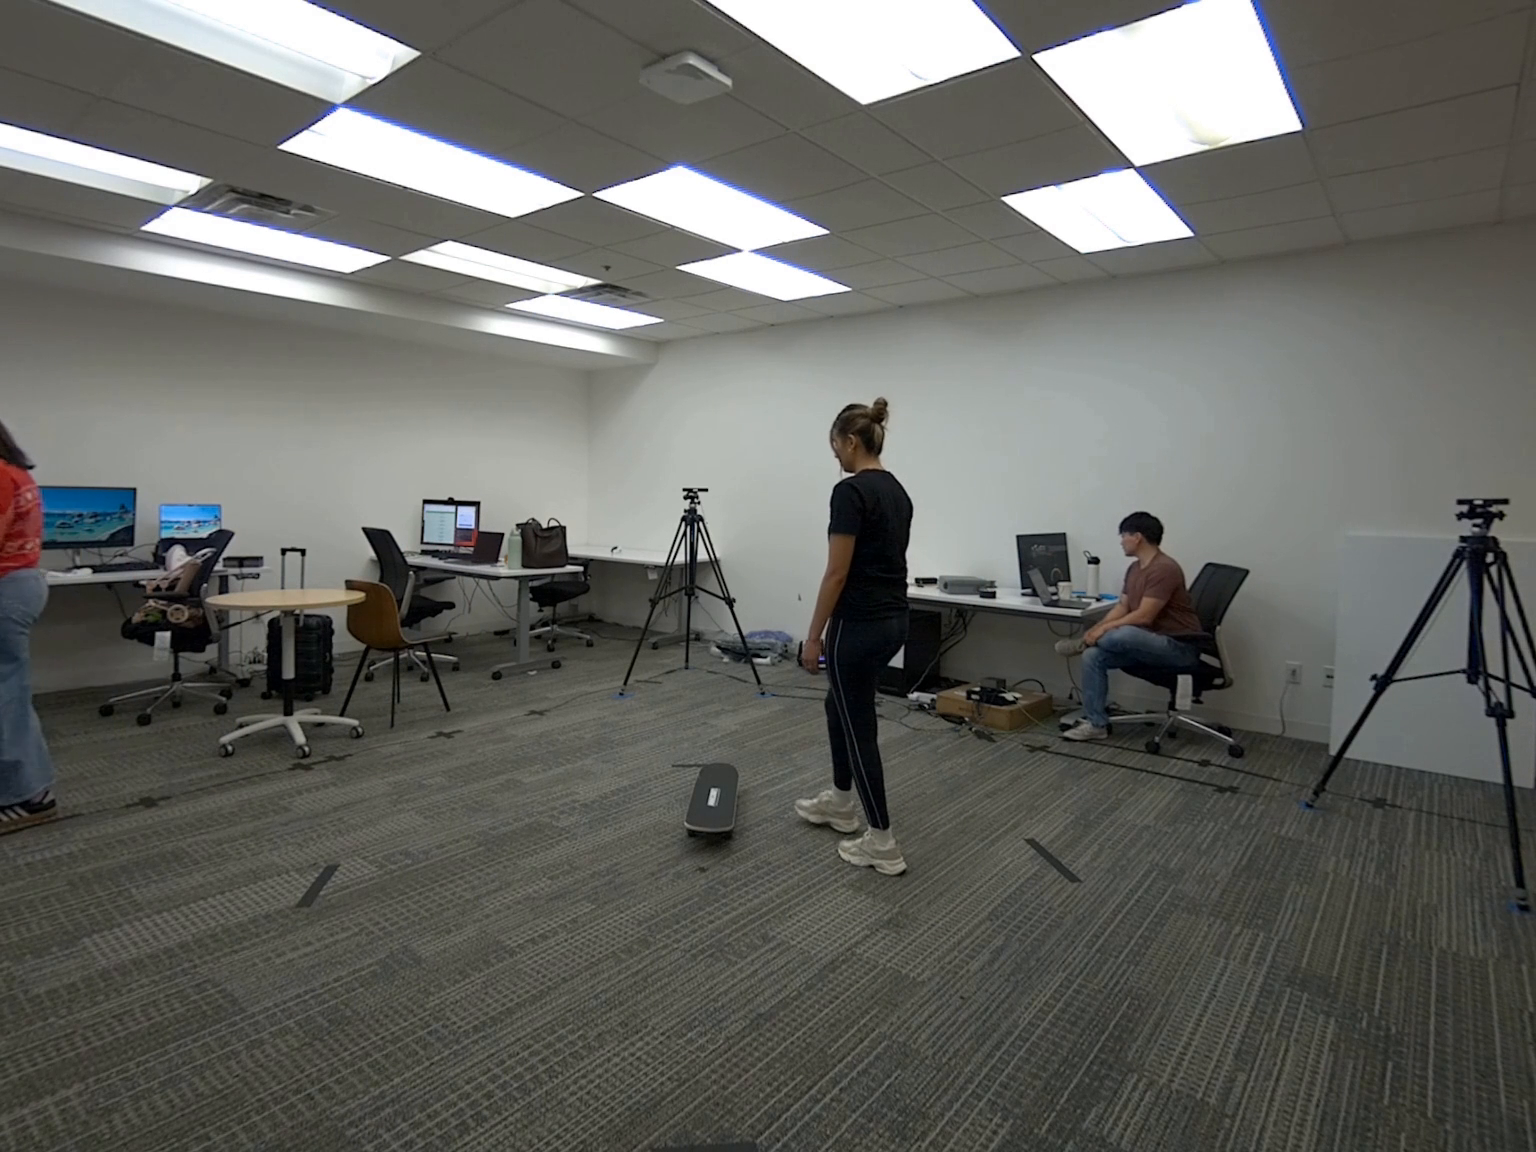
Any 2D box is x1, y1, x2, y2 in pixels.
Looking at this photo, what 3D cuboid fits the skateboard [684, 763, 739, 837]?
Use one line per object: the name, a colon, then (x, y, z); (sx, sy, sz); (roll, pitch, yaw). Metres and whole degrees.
skateboard: (-0.242, 0.963, 3.610); (0.194, 0.110, 0.787); (1, 6, 0)
